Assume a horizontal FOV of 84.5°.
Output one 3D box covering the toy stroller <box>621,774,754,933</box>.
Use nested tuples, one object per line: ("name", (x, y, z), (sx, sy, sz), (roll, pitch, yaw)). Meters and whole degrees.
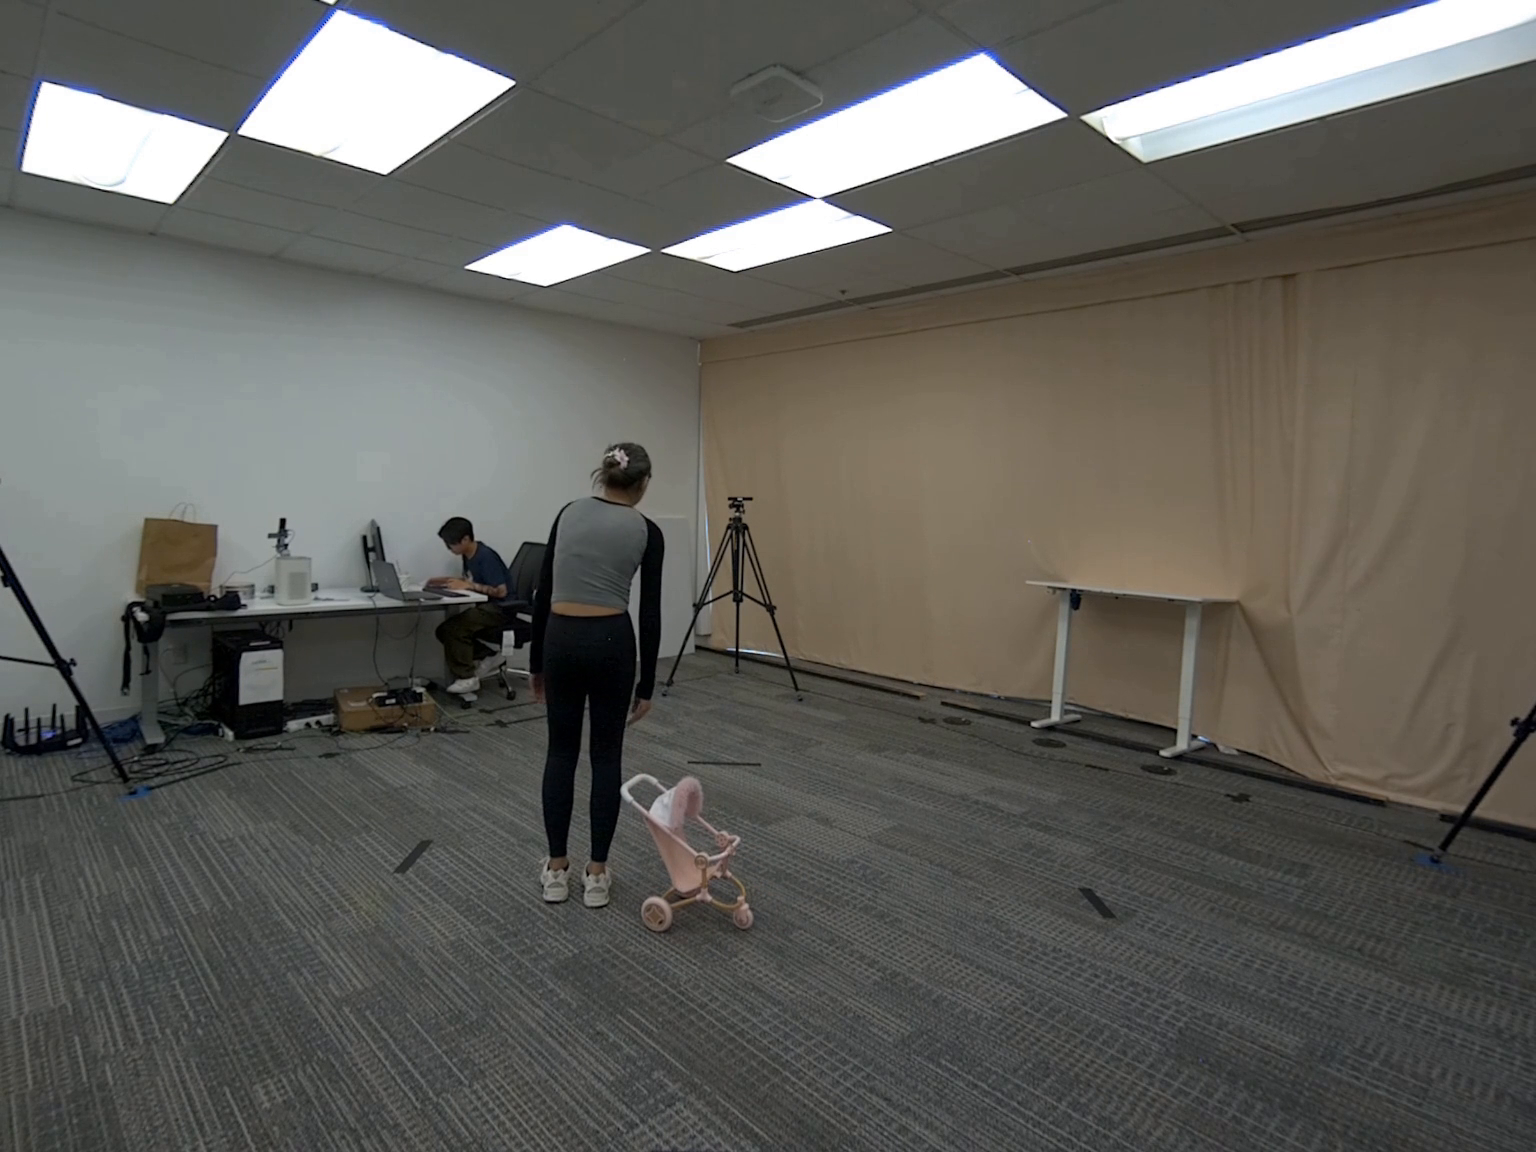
("toy stroller", (-0.263, 0.912, 2.780), (0.345, 0.537, 0.277), (-15, -4, 24))
